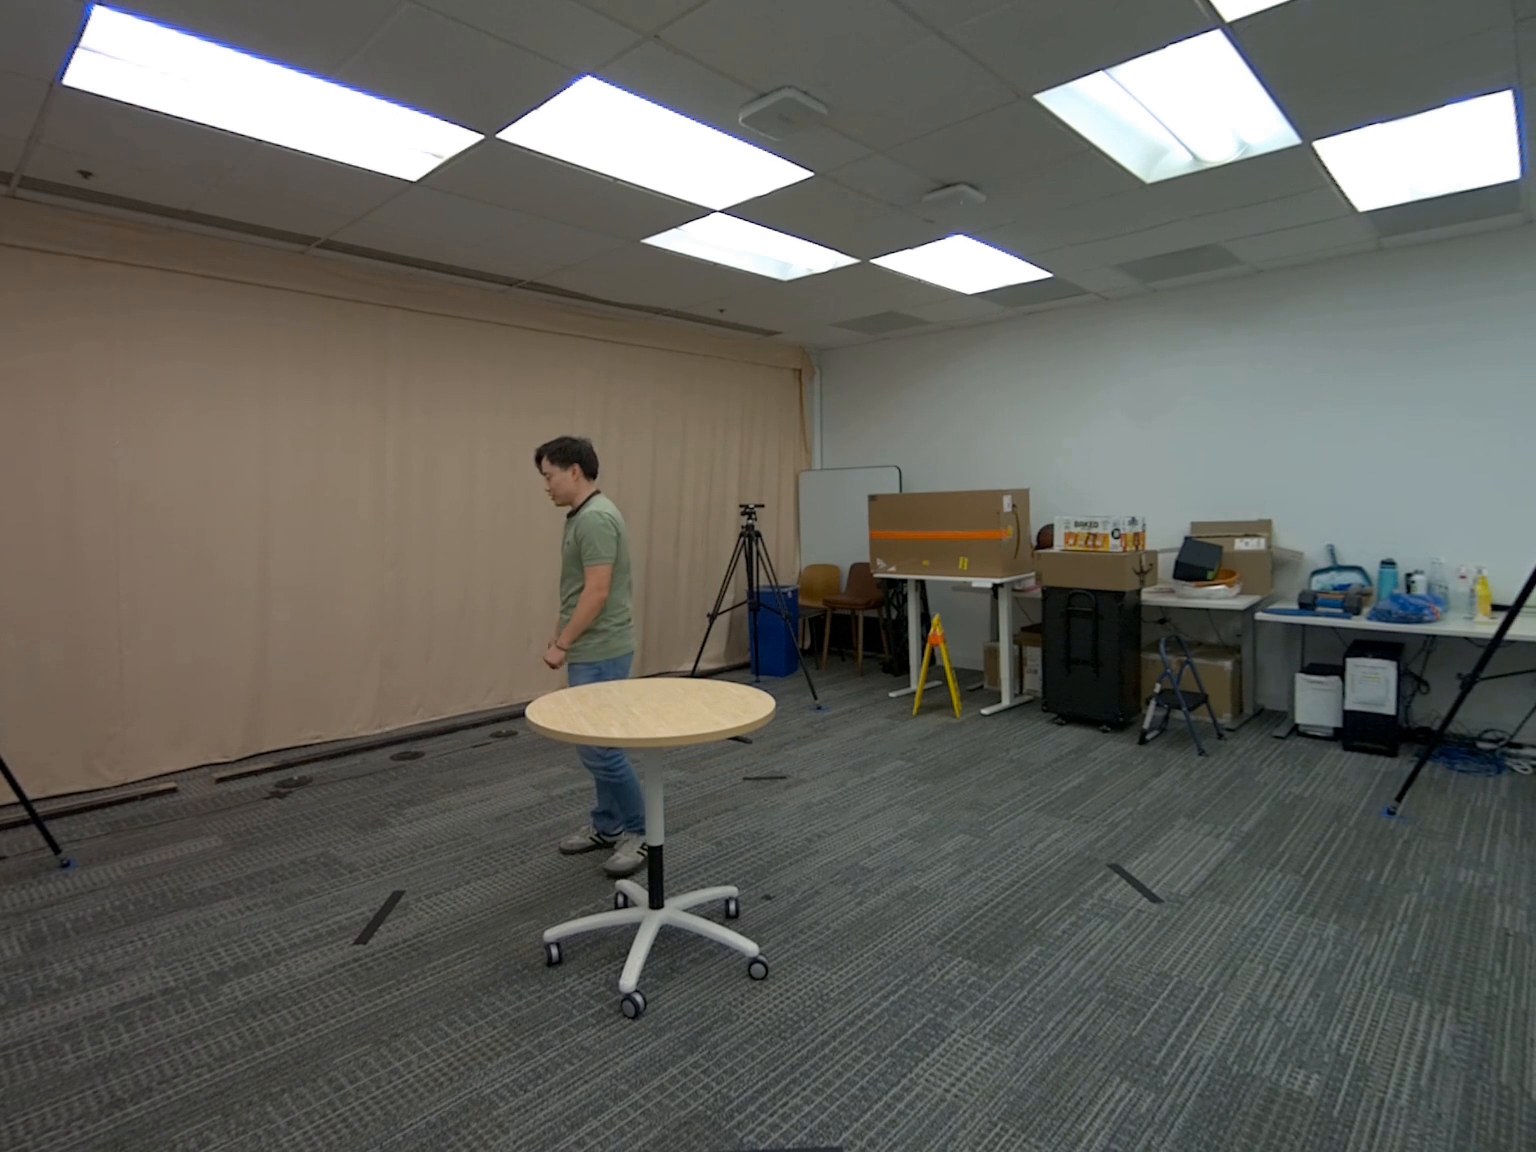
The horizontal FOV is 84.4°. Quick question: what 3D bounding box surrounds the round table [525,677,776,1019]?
[{"bbox_3d":[-0.349,0.791,2.615,0.763,0.792,0.766,-1,4,-2],"label":"round table"}]
